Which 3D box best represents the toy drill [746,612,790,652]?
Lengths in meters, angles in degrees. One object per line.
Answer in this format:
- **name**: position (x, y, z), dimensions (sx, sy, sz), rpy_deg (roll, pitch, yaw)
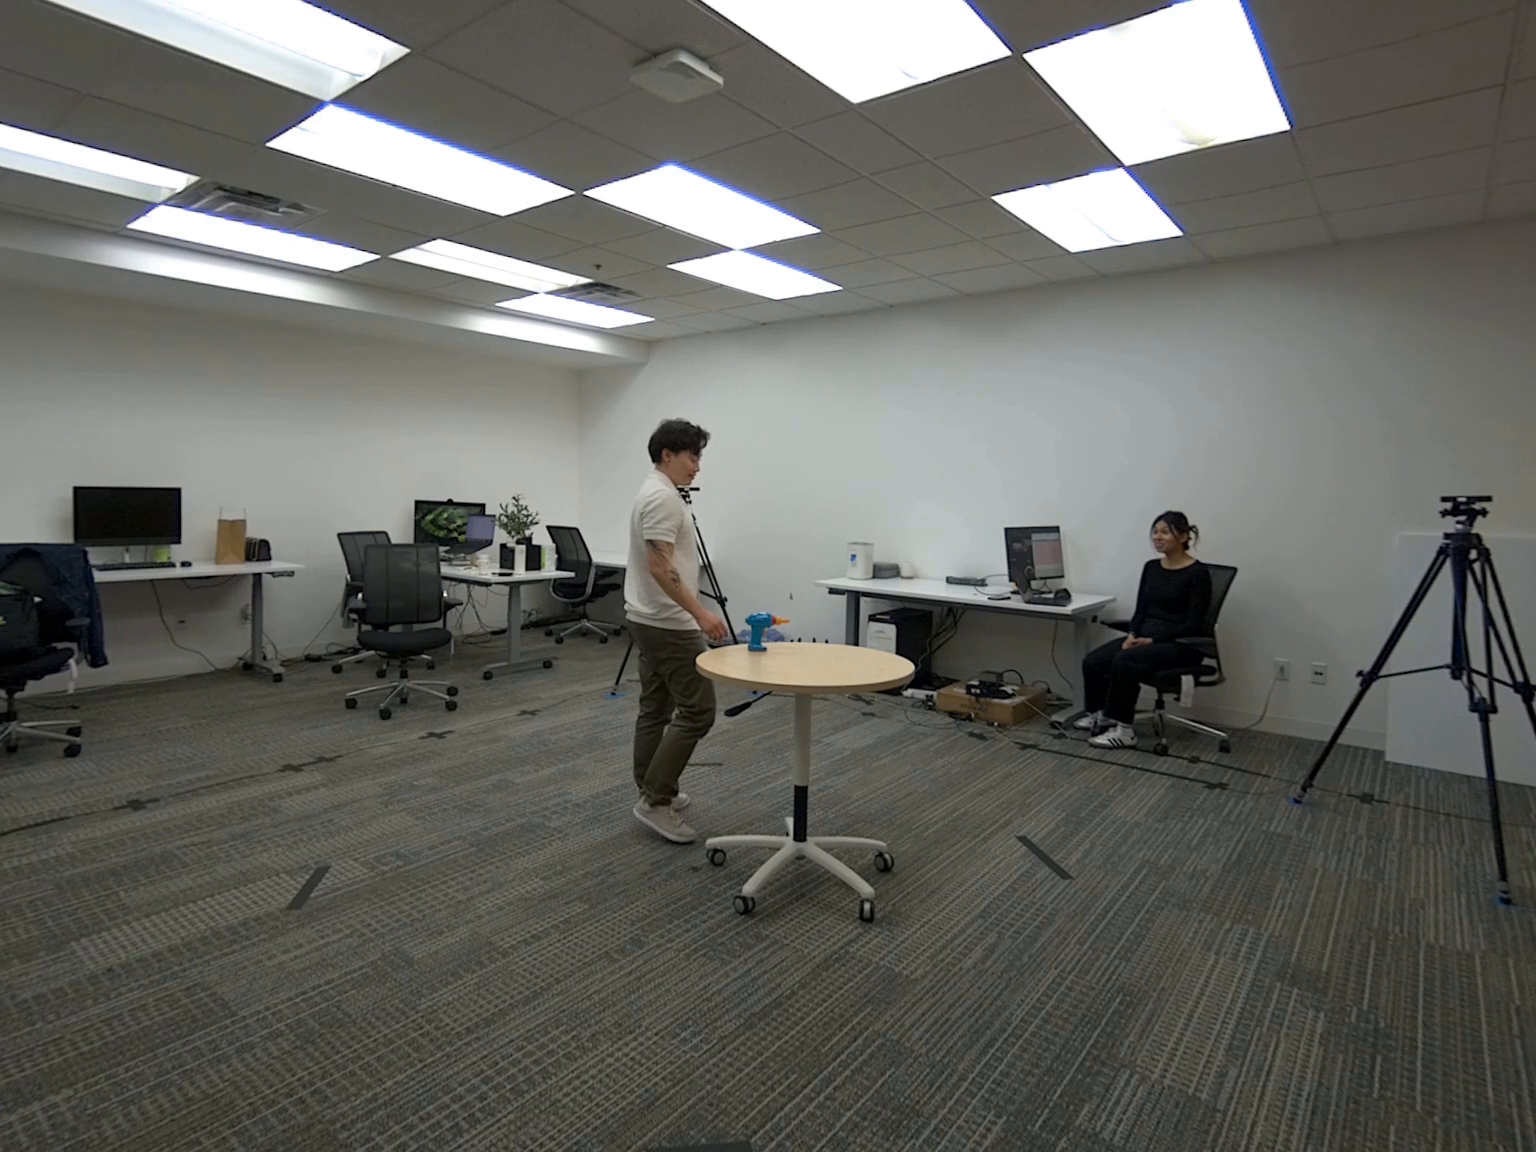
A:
- **toy drill**: position (-0.007, 0.204, 3.203), dimensions (0.169, 0.146, 0.061), rpy_deg (1, 1, -5)
